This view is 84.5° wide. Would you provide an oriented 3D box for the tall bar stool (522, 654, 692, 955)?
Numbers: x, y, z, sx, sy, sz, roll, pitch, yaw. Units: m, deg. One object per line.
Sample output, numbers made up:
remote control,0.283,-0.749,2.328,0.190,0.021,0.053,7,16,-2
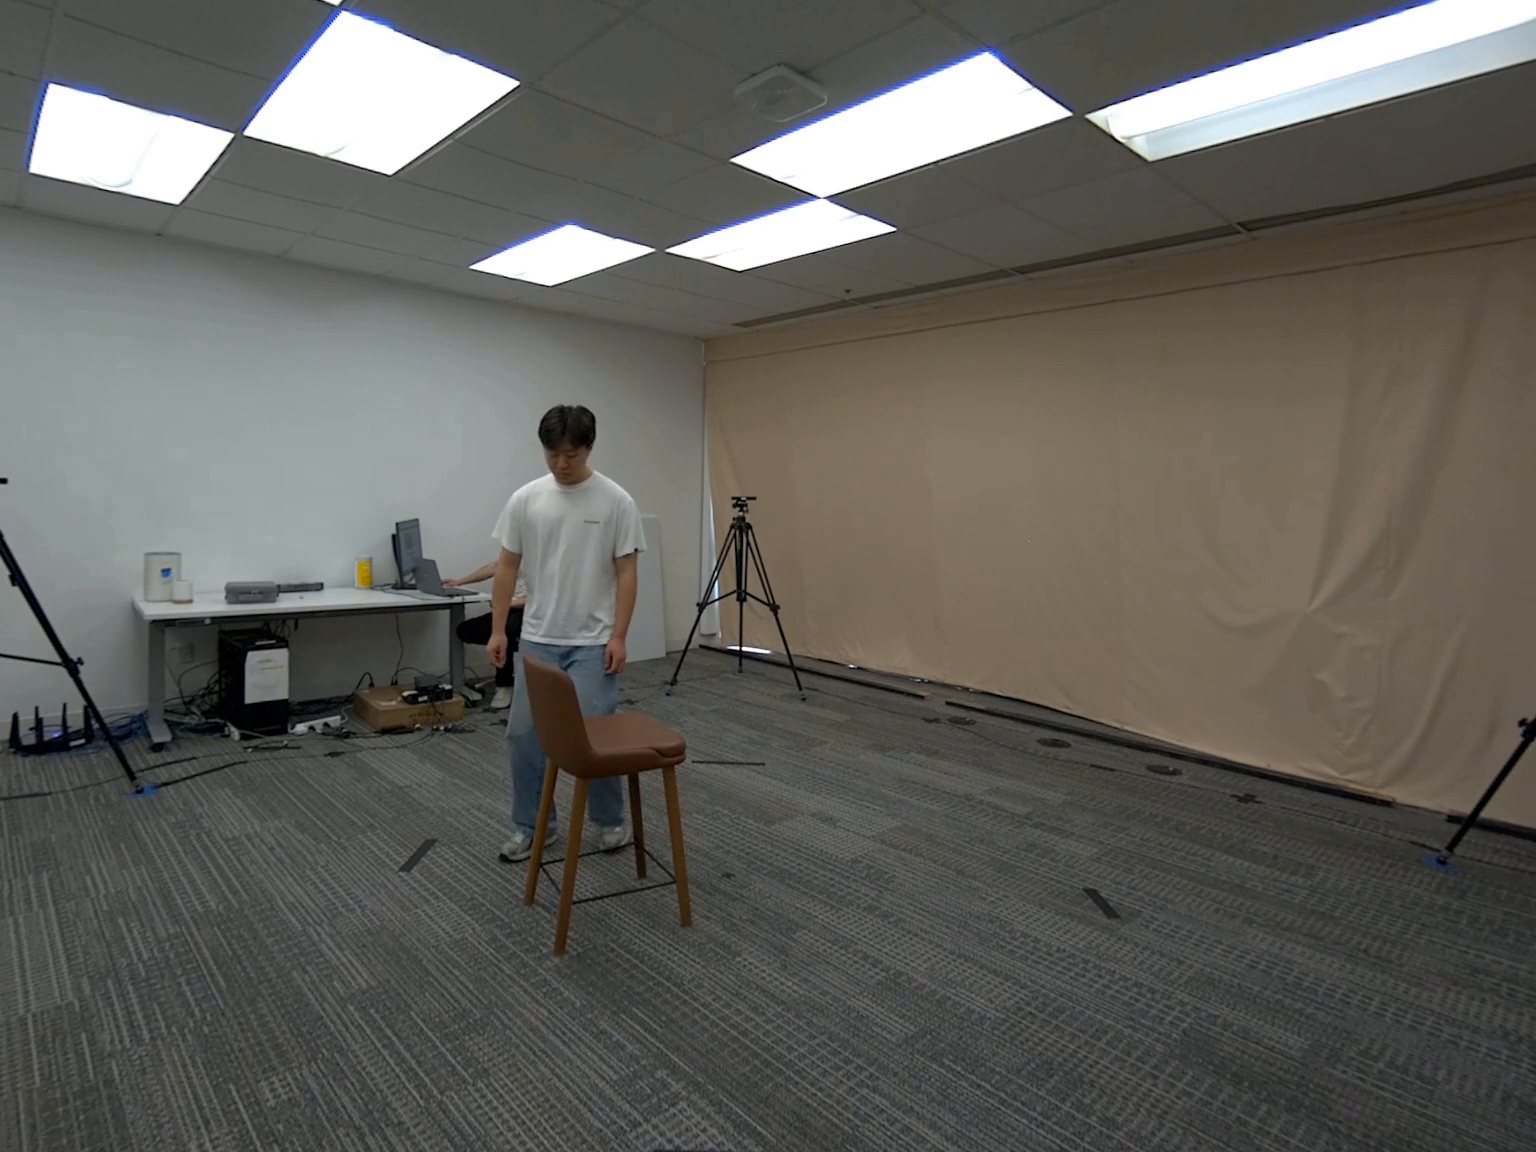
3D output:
tall bar stool,-0.541,0.693,2.774,0.458,0.887,0.467,-3,5,-30
